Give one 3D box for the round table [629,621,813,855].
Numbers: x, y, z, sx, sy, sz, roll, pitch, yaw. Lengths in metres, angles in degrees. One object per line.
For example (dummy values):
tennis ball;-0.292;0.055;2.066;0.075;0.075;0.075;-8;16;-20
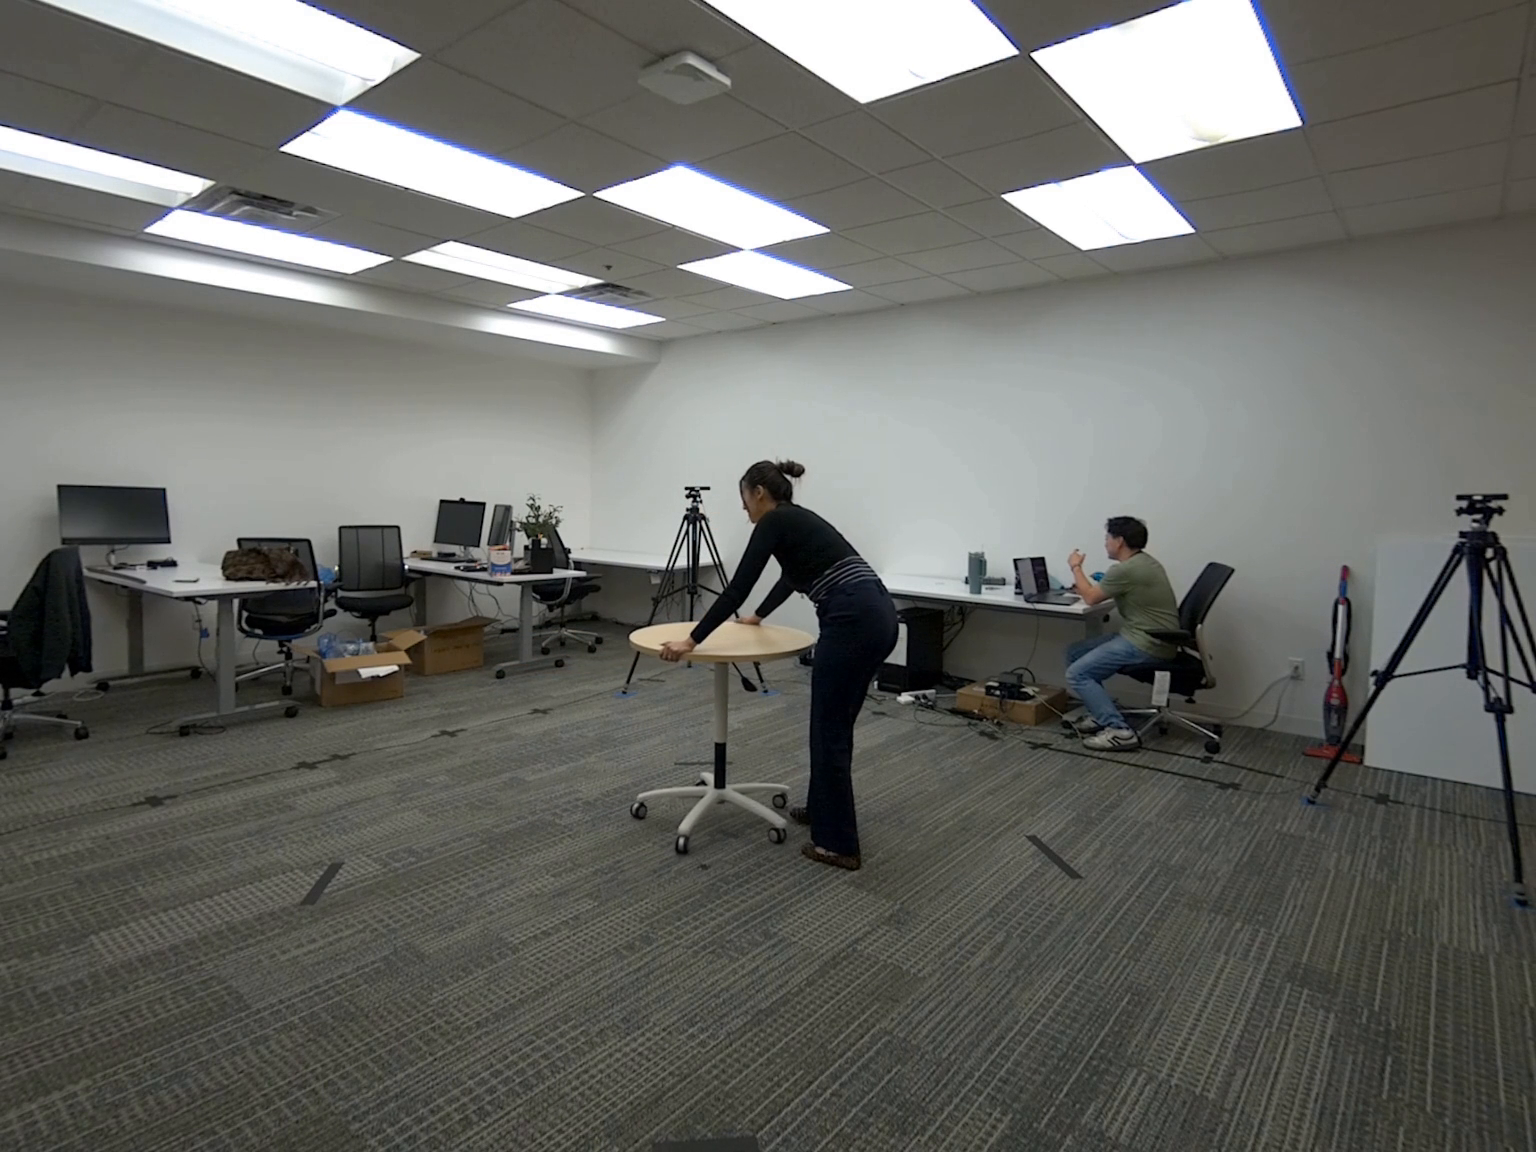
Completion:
round table;-0.219;0.639;3.538;0.763;0.791;0.768;1;4;-2
